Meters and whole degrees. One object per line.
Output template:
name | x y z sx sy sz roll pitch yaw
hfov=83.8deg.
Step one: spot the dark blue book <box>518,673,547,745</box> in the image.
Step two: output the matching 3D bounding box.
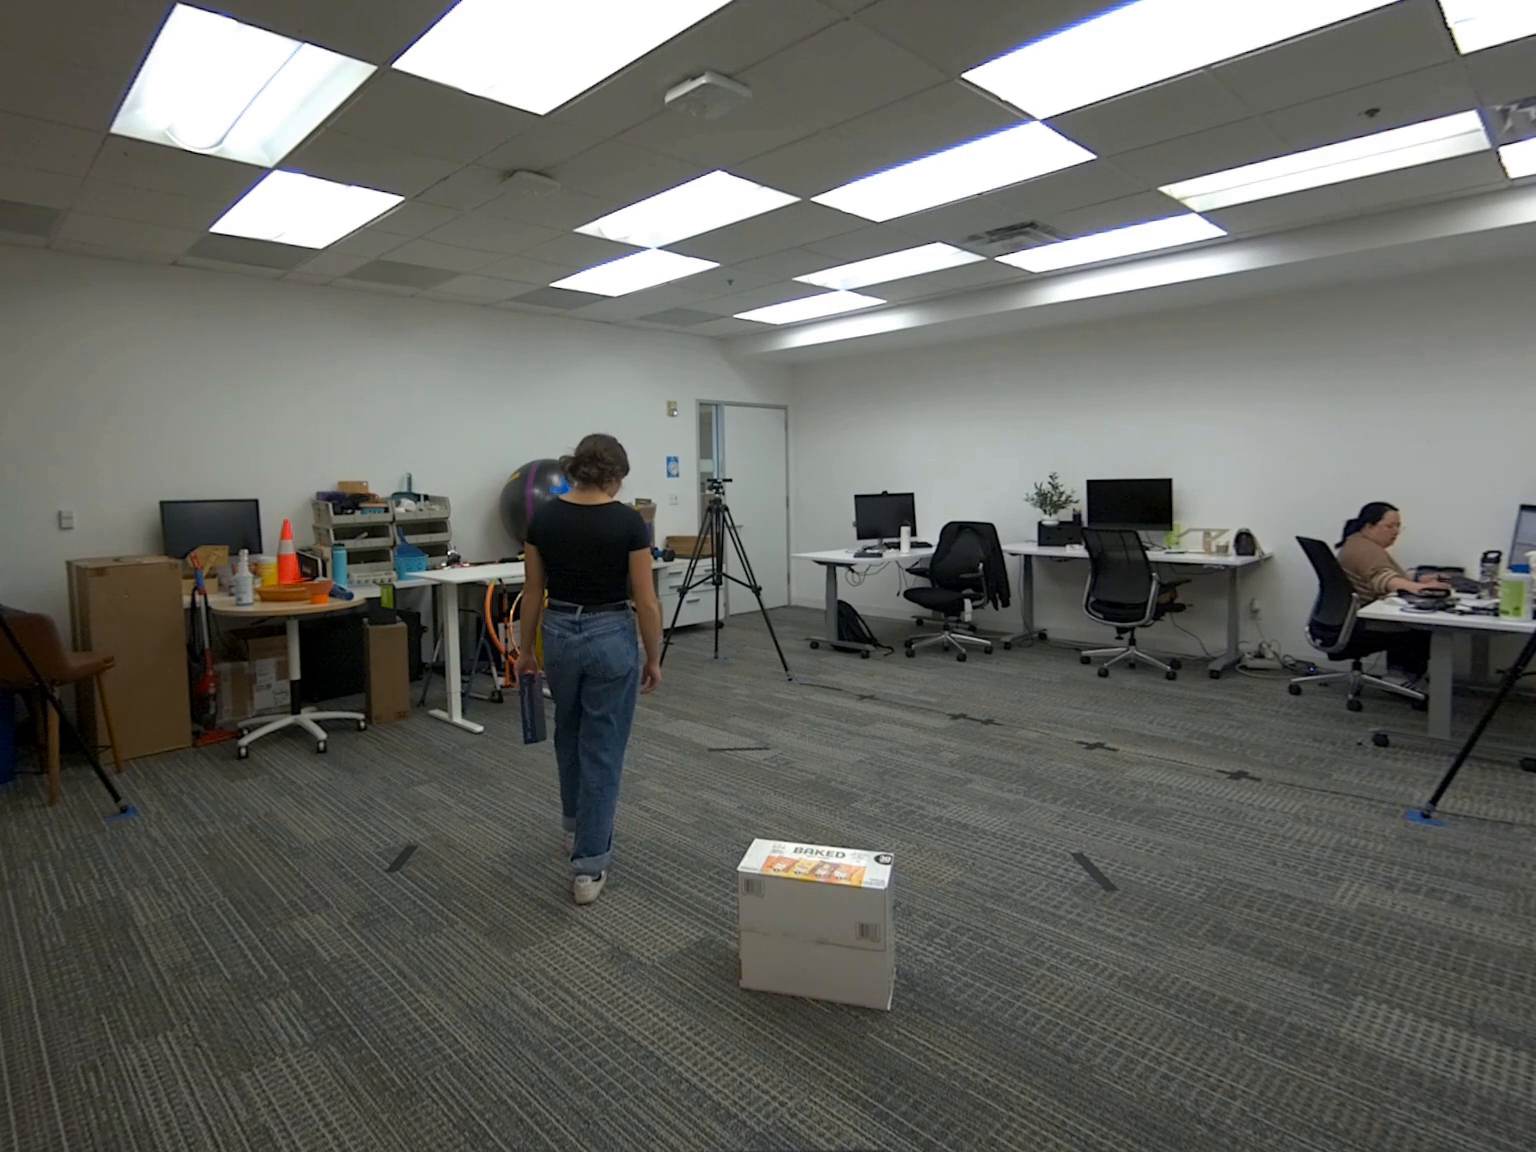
dark blue book | -0.842 0.474 3.071 0.045 0.247 0.162 -6 -8 -1
